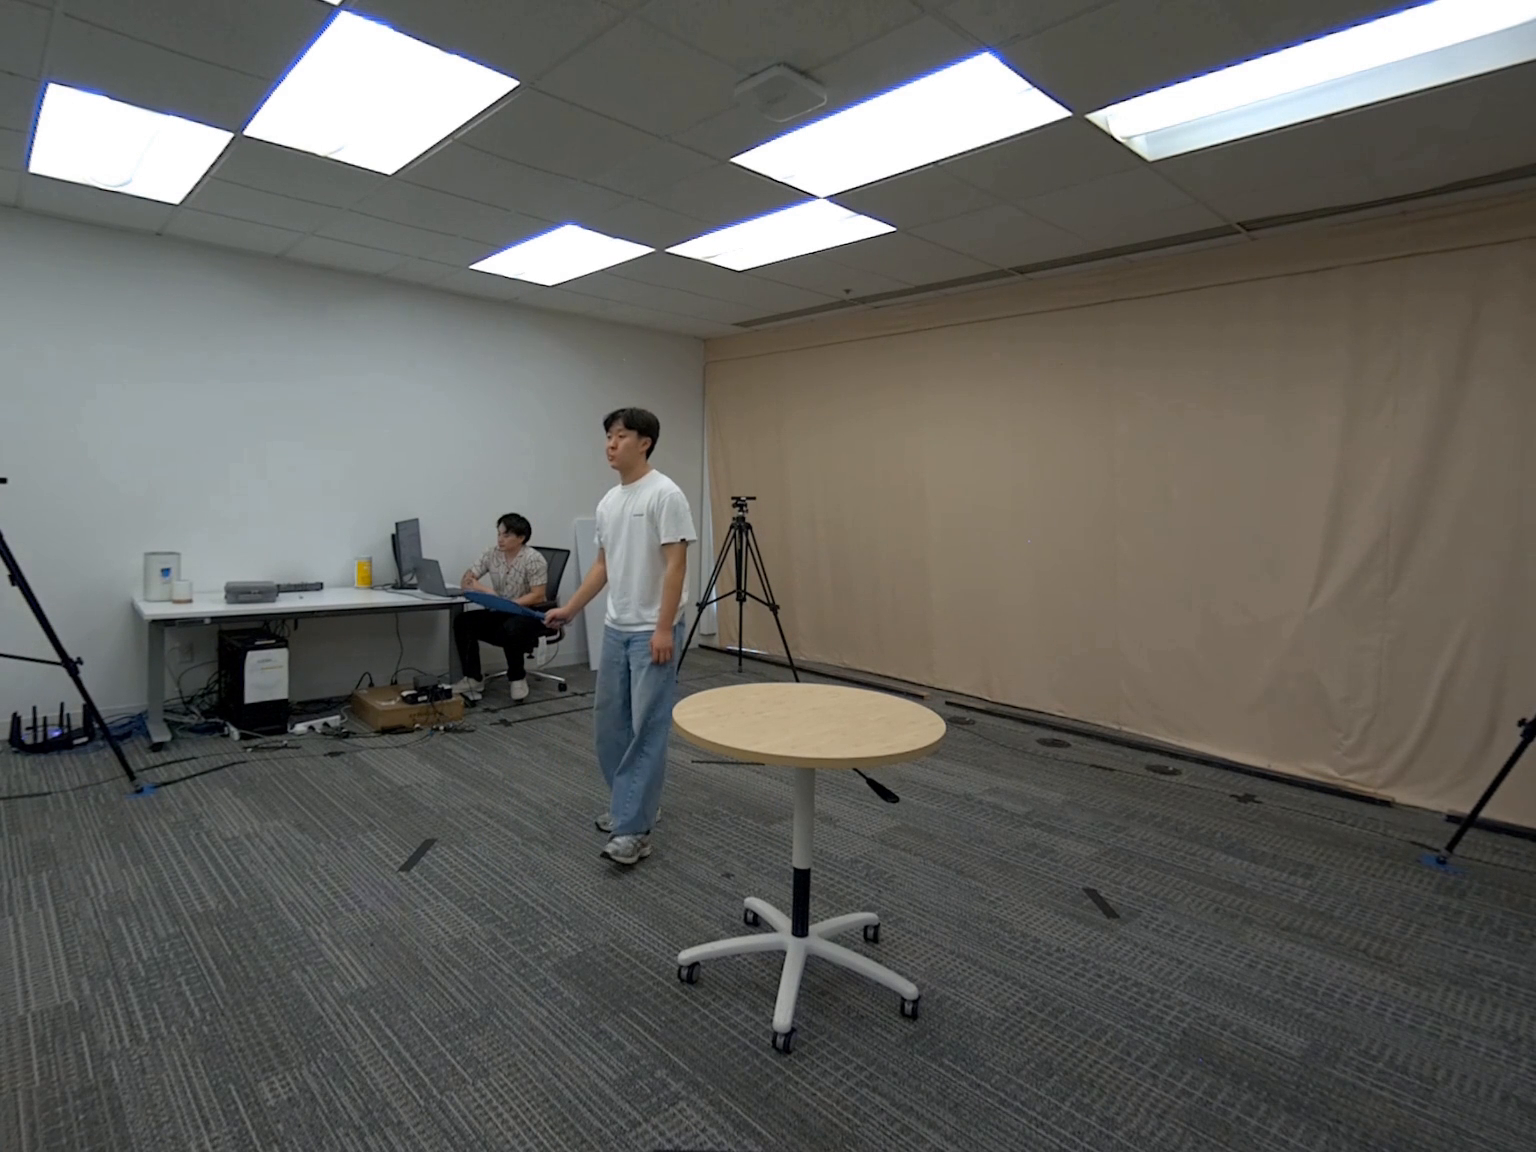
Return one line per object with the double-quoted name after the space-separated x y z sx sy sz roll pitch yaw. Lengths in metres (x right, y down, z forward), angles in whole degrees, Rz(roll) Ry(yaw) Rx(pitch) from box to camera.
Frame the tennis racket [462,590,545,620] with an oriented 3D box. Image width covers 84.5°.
-1.054 0.147 3.515 0.427 0.032 0.215 12 -14 -15 "tennis racket"
